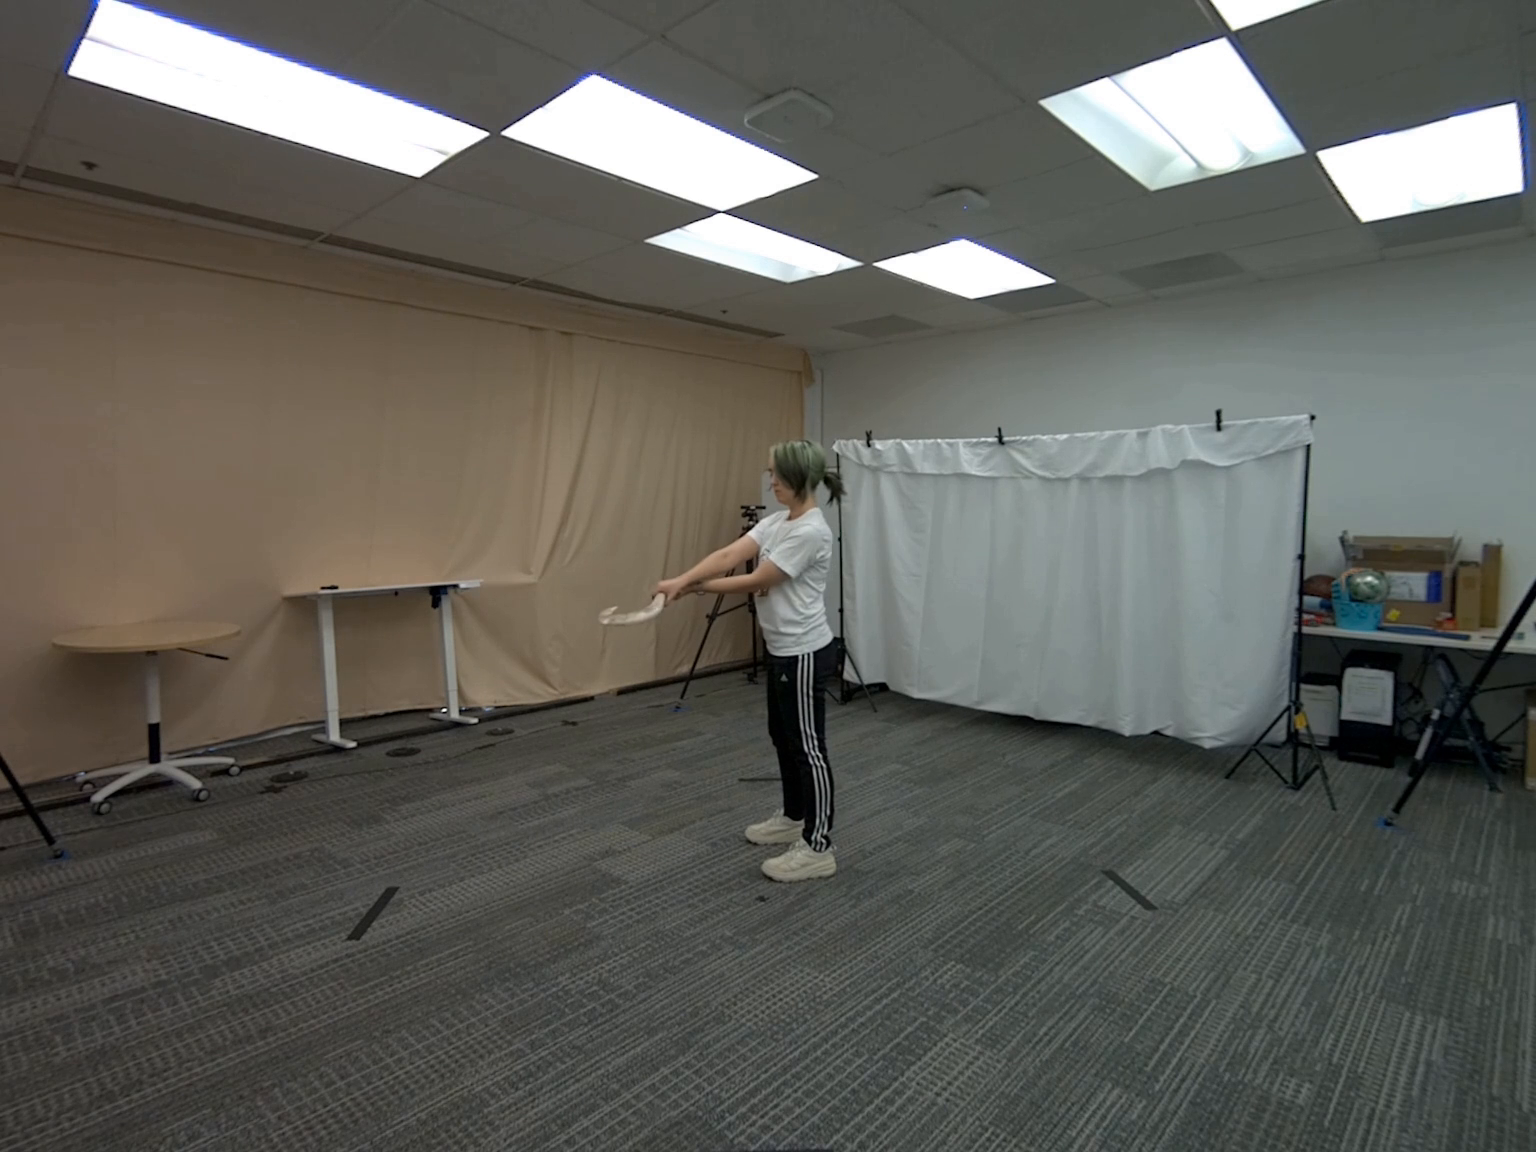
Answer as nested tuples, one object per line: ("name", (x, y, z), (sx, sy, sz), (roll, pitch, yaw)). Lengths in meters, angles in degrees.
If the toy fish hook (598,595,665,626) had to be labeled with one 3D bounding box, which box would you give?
("toy fish hook", (-0.432, 0.093, 3.043), (0.227, 0.048, 0.504), (0, 12, 10))
